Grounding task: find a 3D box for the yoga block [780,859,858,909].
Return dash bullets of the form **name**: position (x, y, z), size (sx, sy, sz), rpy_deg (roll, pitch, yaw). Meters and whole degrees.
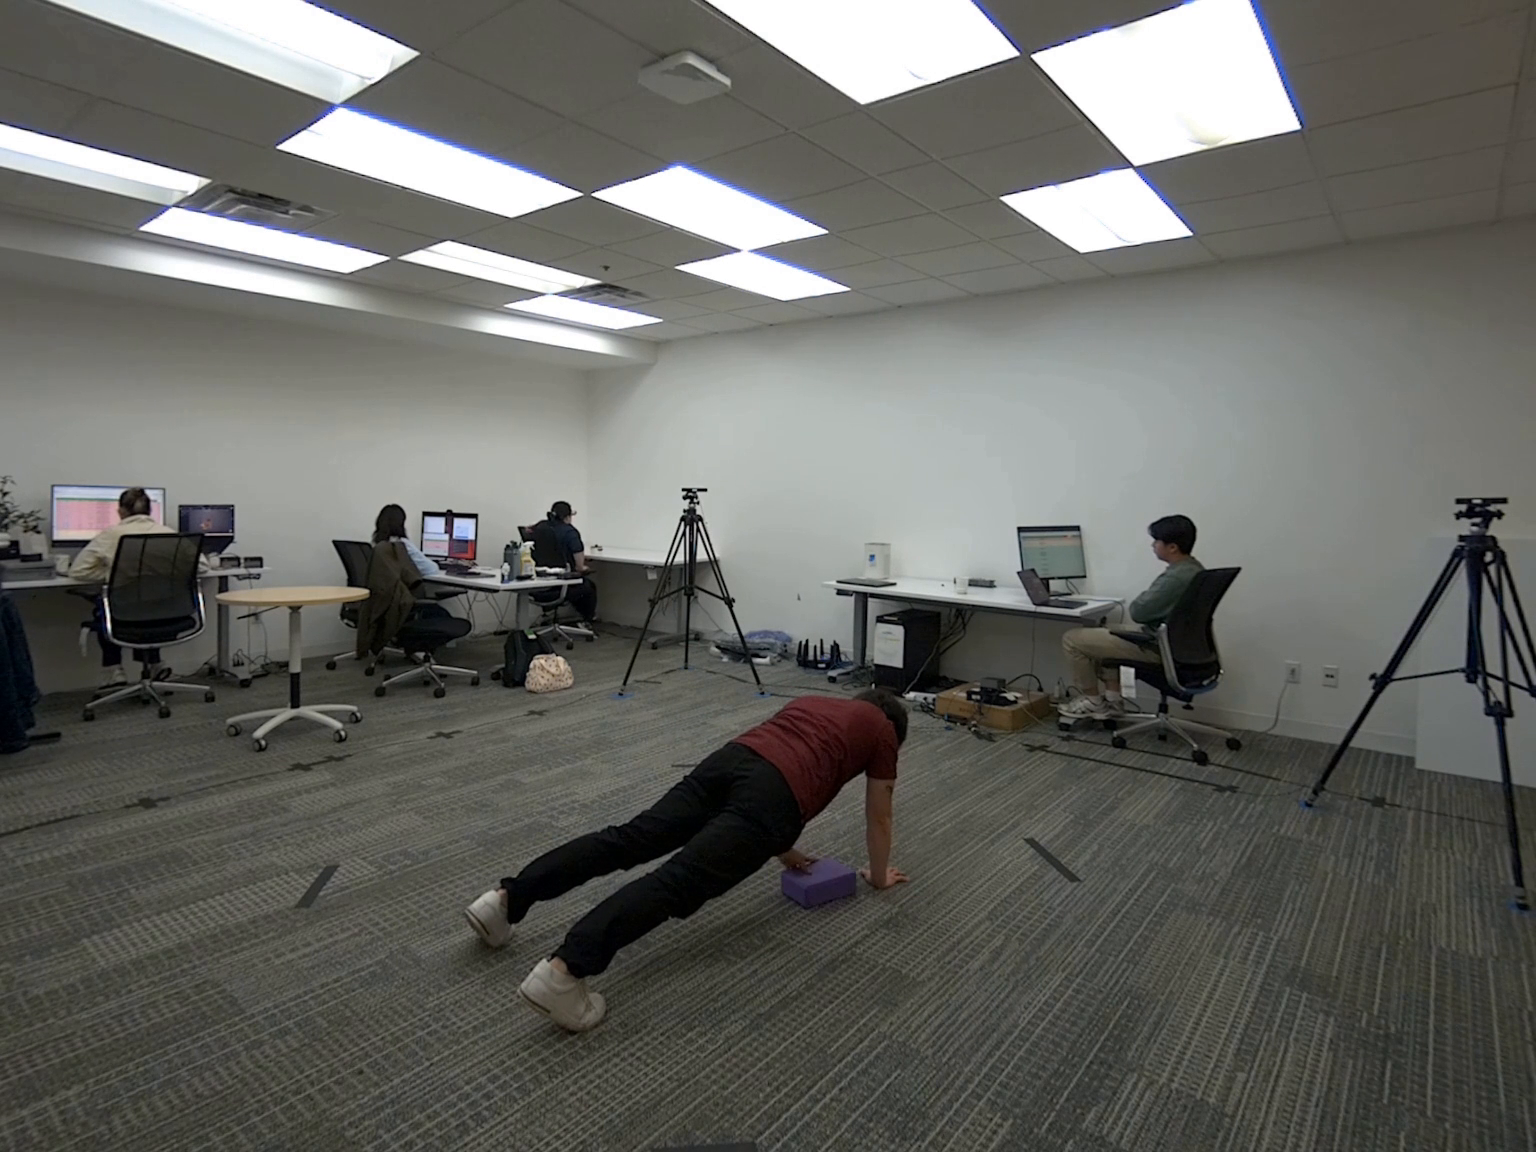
- **yoga block**: position (0.165, 1.050, 2.945), size (0.223, 0.076, 0.154), rpy_deg (-2, 4, -35)
